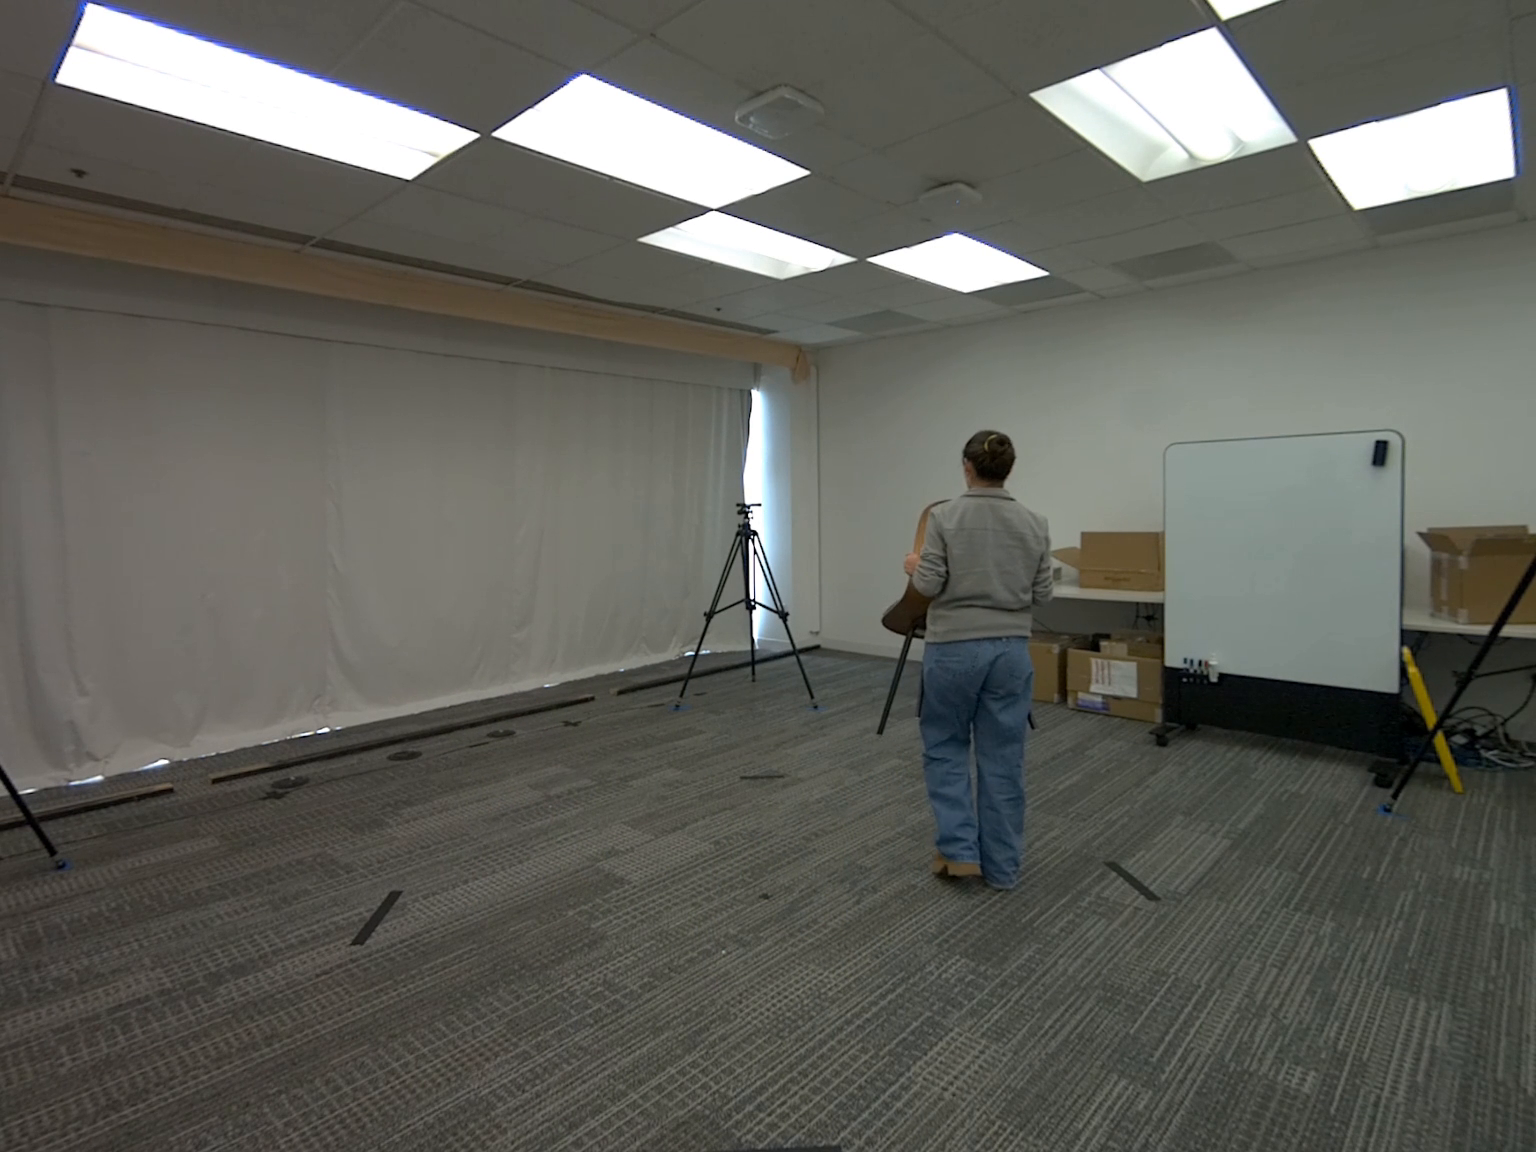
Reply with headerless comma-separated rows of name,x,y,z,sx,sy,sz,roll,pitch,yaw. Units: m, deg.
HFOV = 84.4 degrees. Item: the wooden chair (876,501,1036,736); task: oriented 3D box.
wooden chair,0.716,0.201,3.333,0.475,0.885,0.522,5,-16,-7
